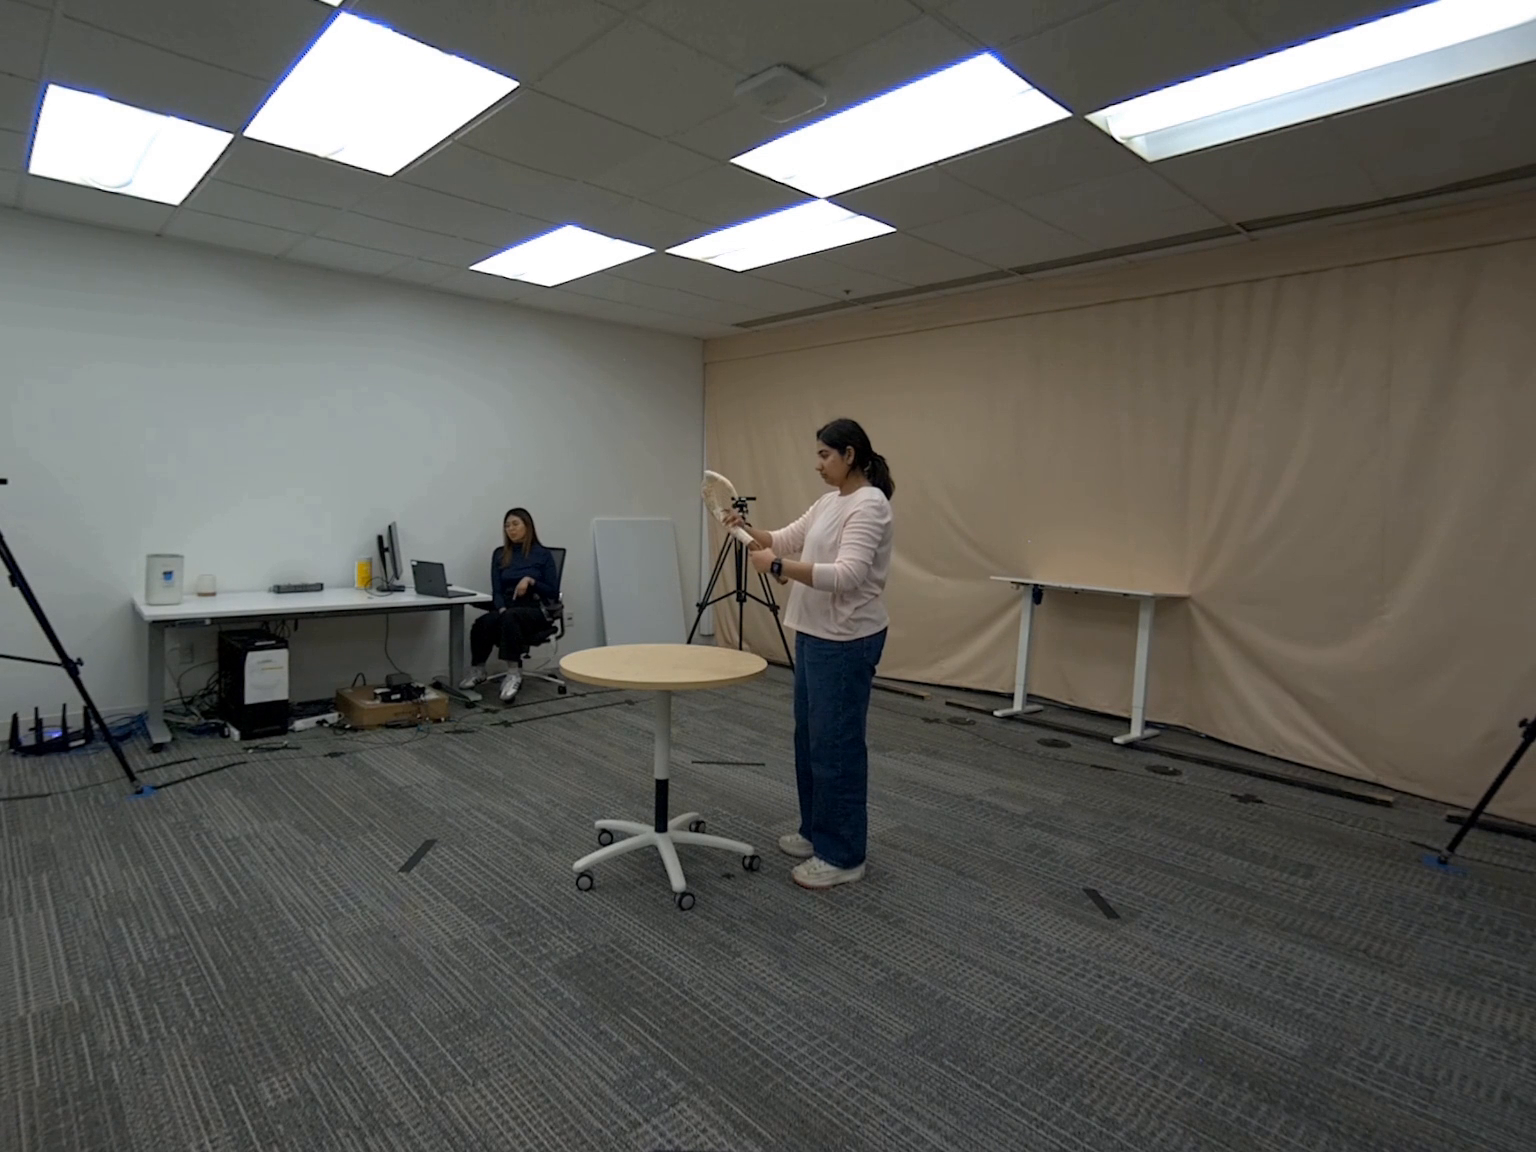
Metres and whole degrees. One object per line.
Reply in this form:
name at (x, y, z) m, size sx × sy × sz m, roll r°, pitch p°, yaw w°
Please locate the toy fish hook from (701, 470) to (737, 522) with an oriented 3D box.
toy fish hook at (-0.087, -0.176, 3.017) m, size 0.048 × 0.518 × 0.221 m, roll -32°, pitch -24°, yaw -25°
